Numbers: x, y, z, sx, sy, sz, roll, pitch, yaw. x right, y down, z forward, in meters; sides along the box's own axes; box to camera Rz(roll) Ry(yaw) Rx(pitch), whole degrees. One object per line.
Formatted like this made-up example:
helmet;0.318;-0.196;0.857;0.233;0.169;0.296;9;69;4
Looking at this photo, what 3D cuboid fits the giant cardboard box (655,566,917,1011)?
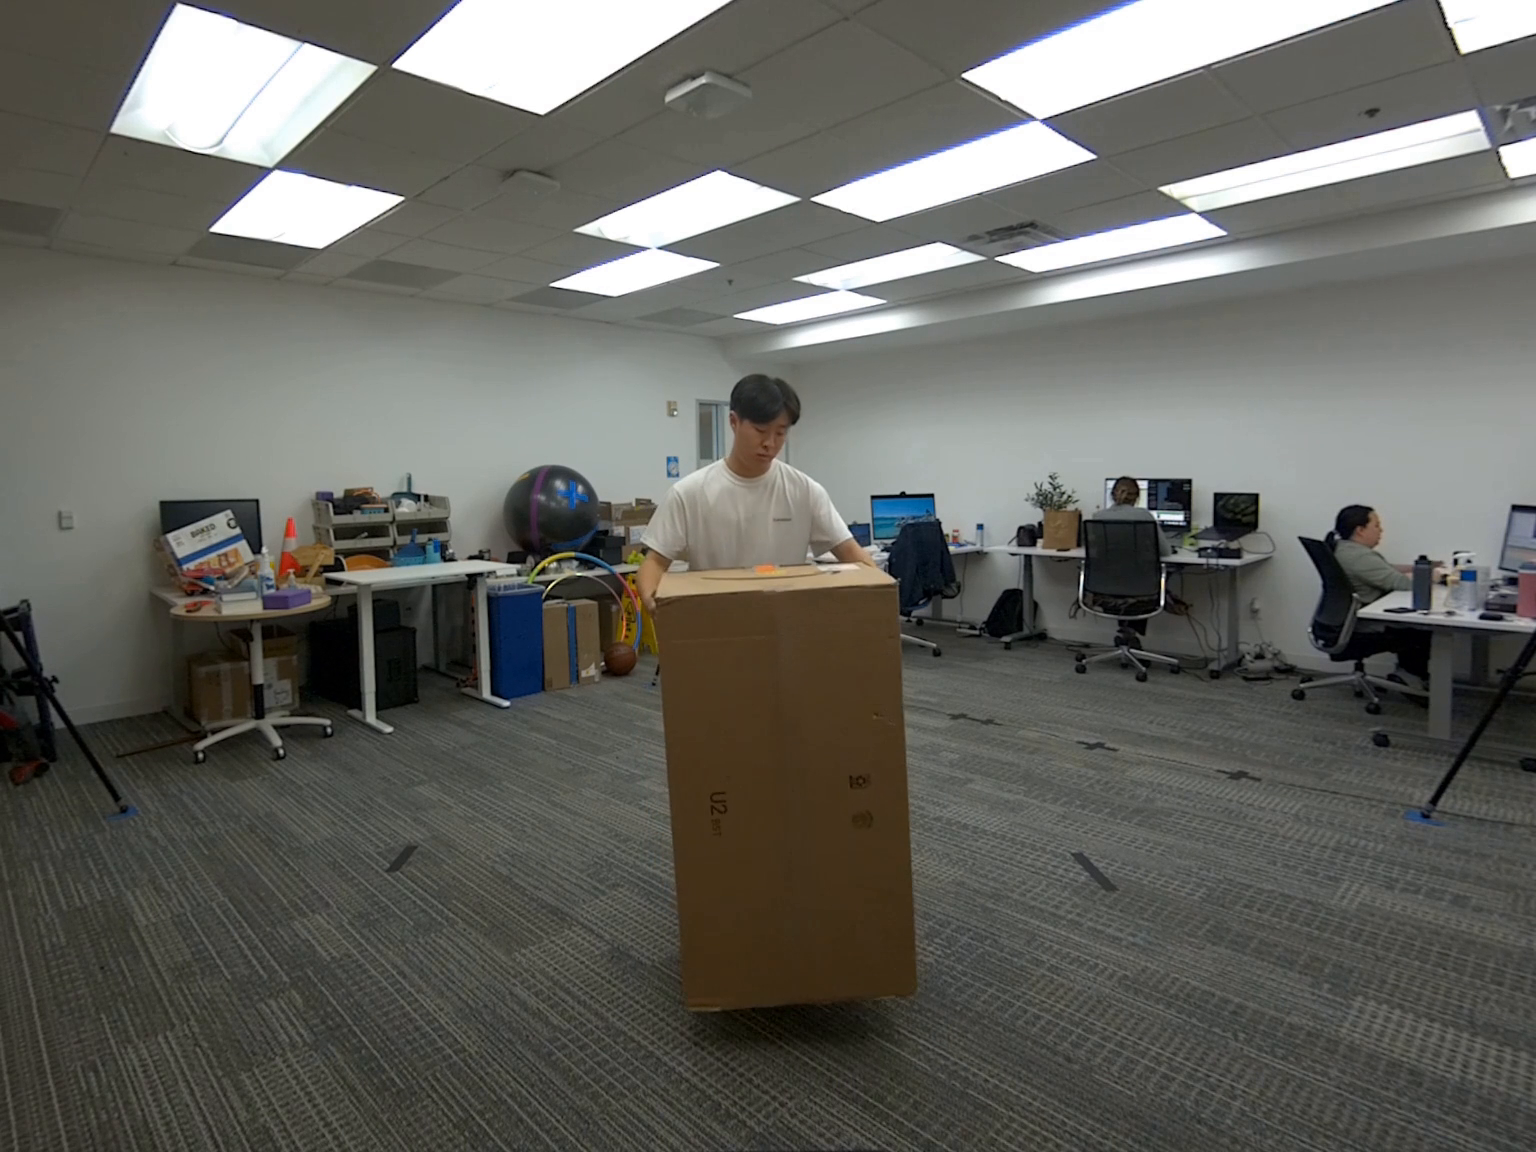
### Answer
giant cardboard box;0.038;0.512;2.236;0.577;1.021;0.429;-4;5;-2
